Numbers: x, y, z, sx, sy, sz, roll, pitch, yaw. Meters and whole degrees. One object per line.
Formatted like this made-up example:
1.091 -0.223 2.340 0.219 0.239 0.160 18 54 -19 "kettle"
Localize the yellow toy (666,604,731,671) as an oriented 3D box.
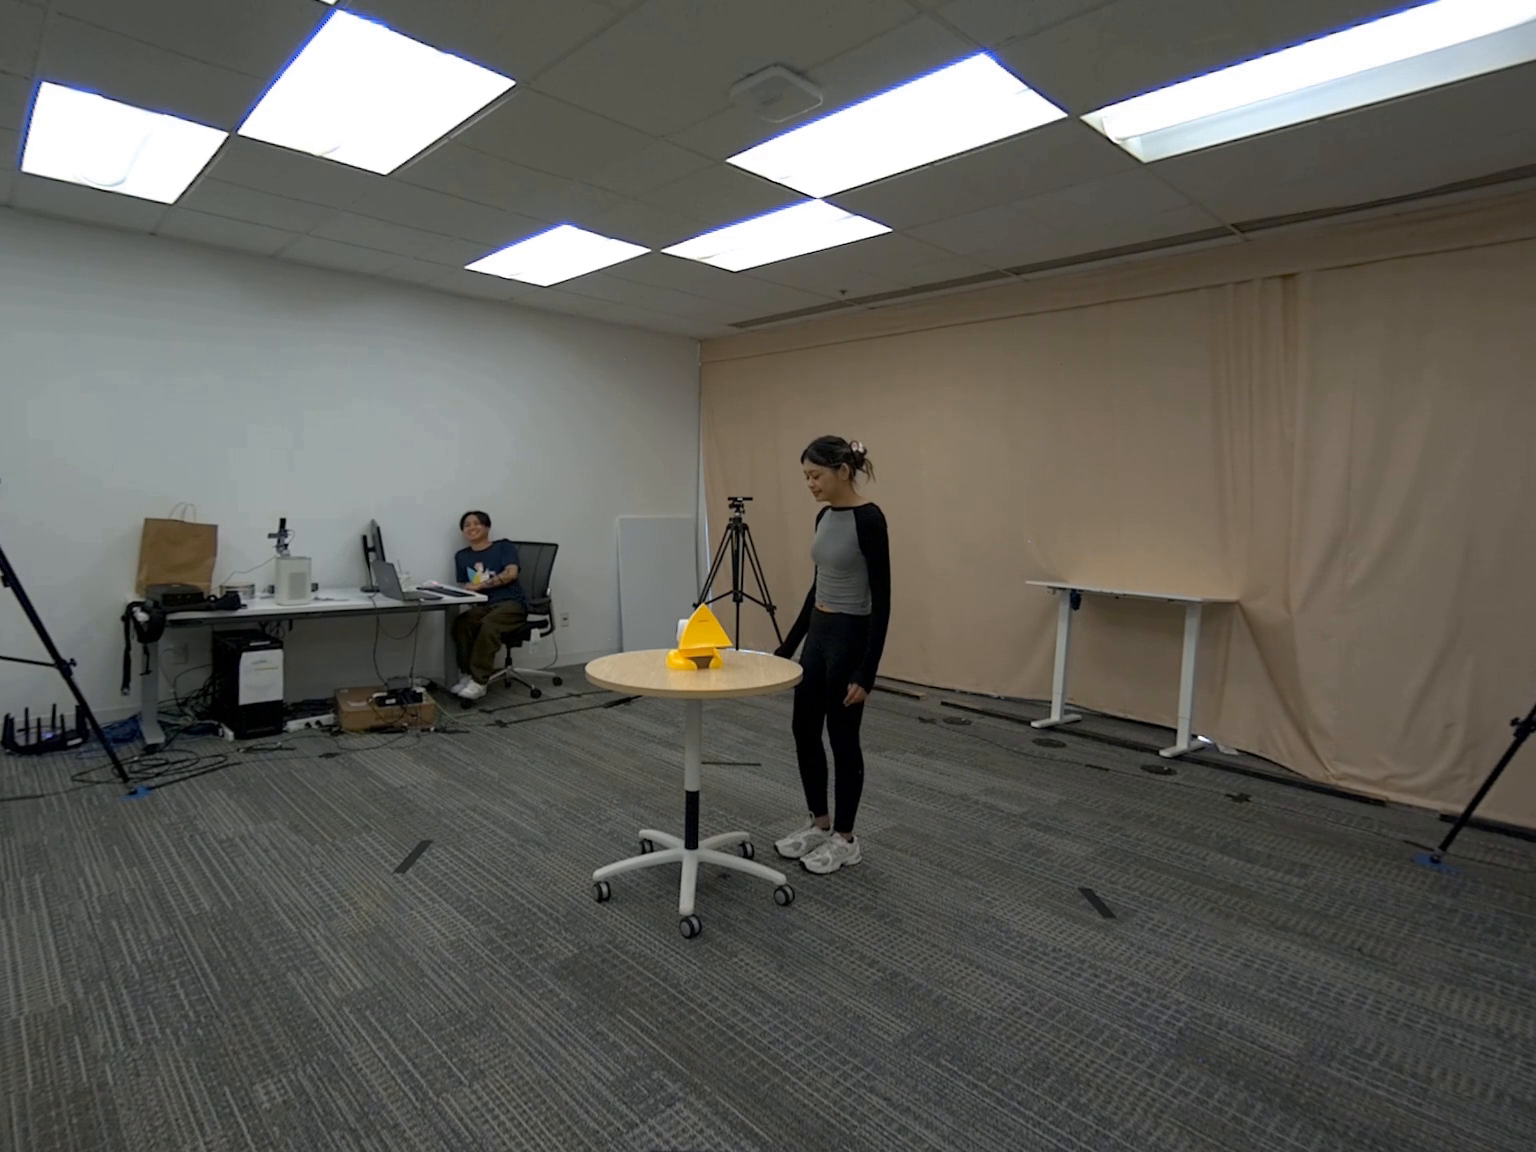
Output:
-0.266 0.206 3.001 0.201 0.230 0.197 -1 4 -28 "yellow toy"
